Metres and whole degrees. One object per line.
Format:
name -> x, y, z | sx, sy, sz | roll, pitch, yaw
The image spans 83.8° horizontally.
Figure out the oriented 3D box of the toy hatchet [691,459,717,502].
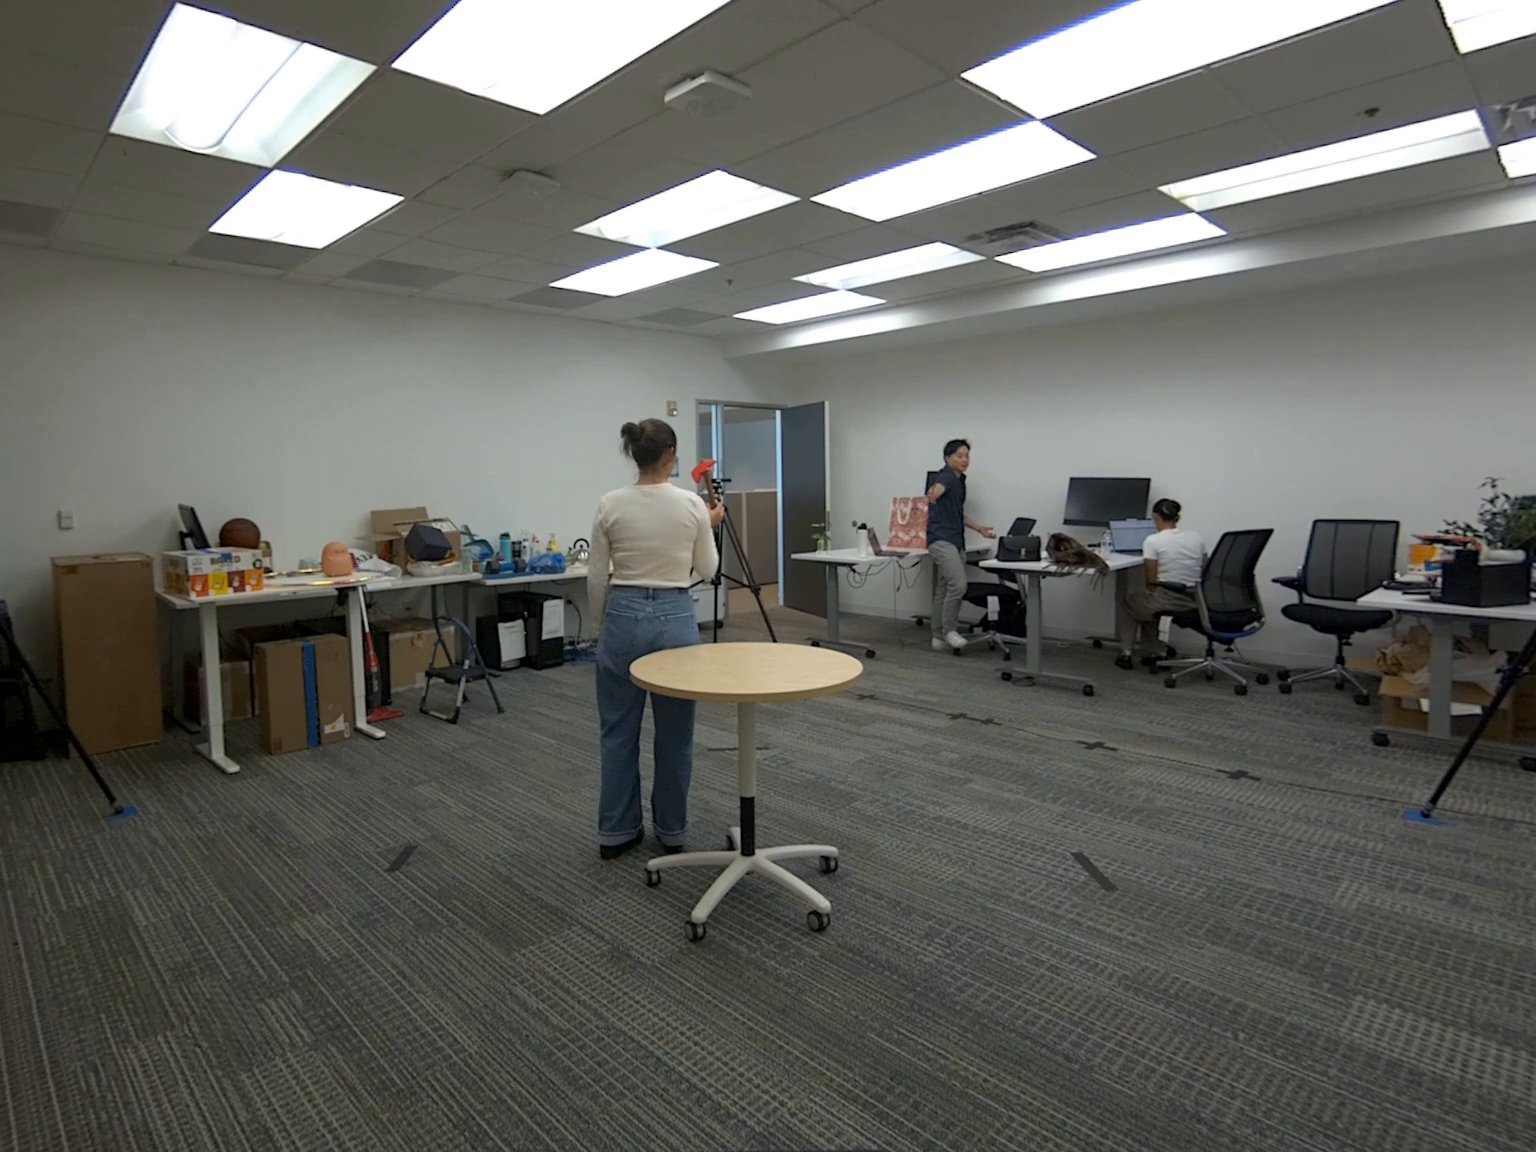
toy hatchet -> -0.273, -0.345, 3.496 | 0.134, 0.271, 0.029 | -3, -7, 32
